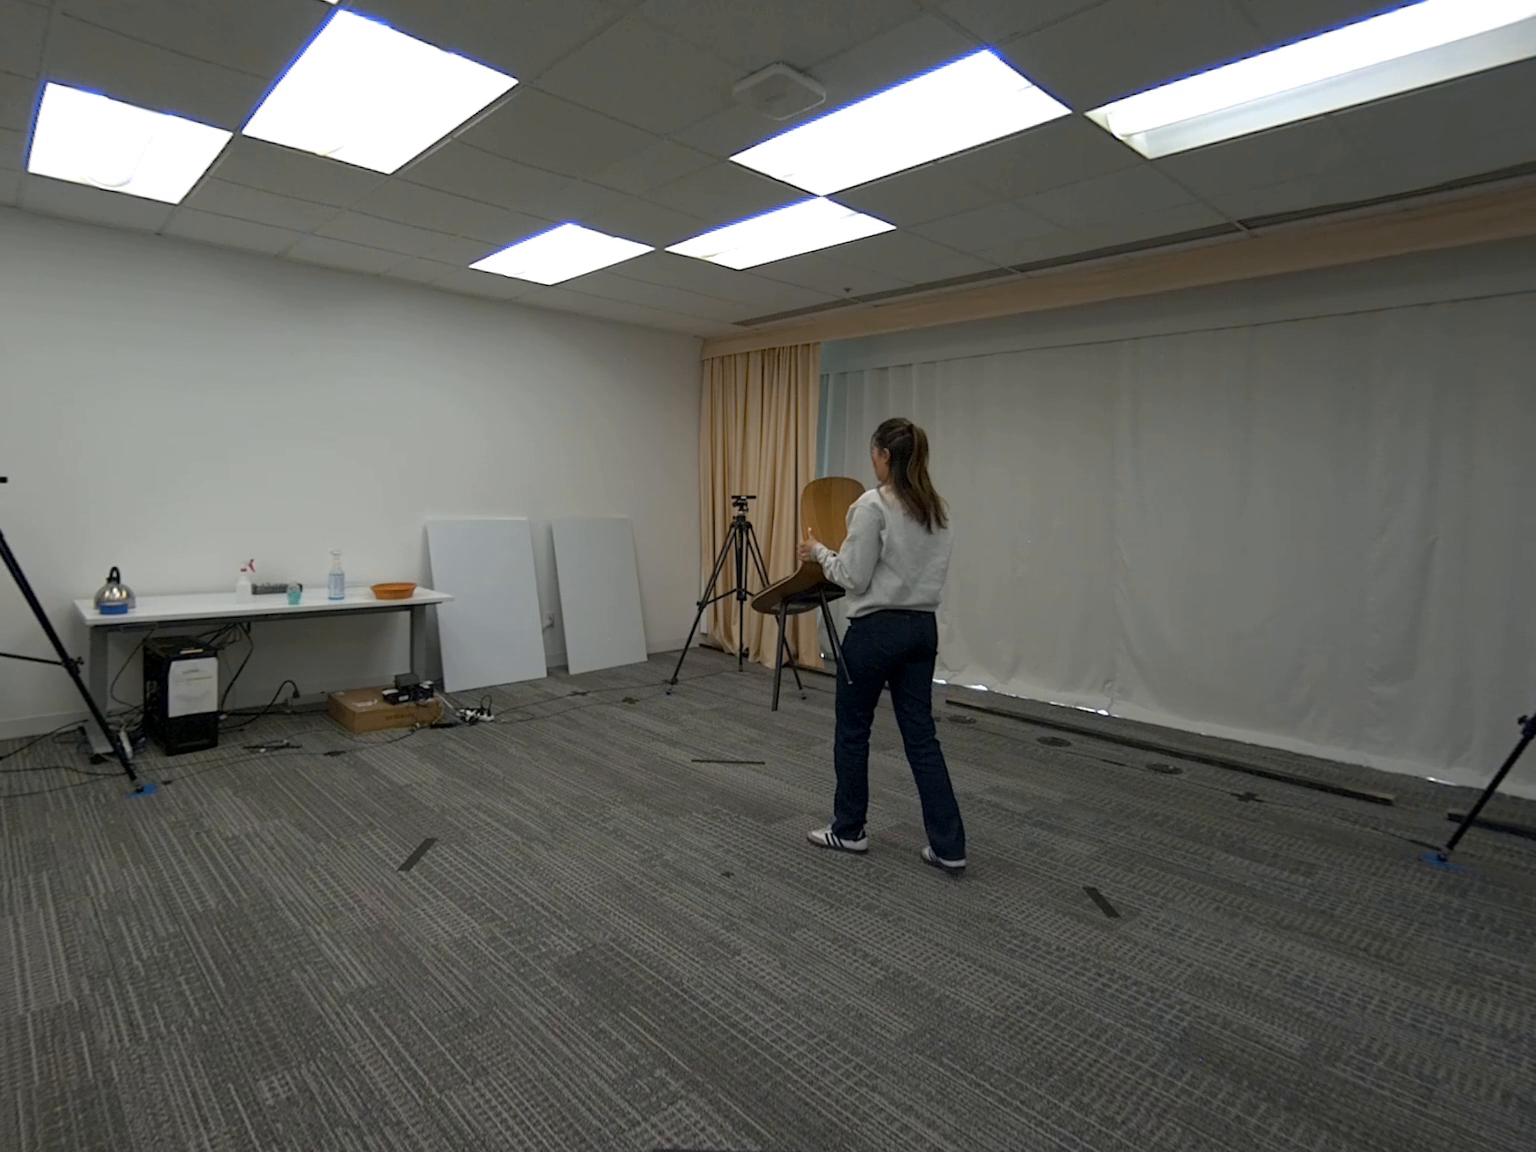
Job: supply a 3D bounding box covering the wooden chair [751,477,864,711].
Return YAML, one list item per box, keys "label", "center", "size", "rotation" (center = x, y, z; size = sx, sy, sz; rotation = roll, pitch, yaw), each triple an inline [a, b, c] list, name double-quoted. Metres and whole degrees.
- label: "wooden chair"
  center: [0.212, 0.087, 3.540]
  size: [0.466, 0.889, 0.529]
  rotation: [3, -20, -40]
